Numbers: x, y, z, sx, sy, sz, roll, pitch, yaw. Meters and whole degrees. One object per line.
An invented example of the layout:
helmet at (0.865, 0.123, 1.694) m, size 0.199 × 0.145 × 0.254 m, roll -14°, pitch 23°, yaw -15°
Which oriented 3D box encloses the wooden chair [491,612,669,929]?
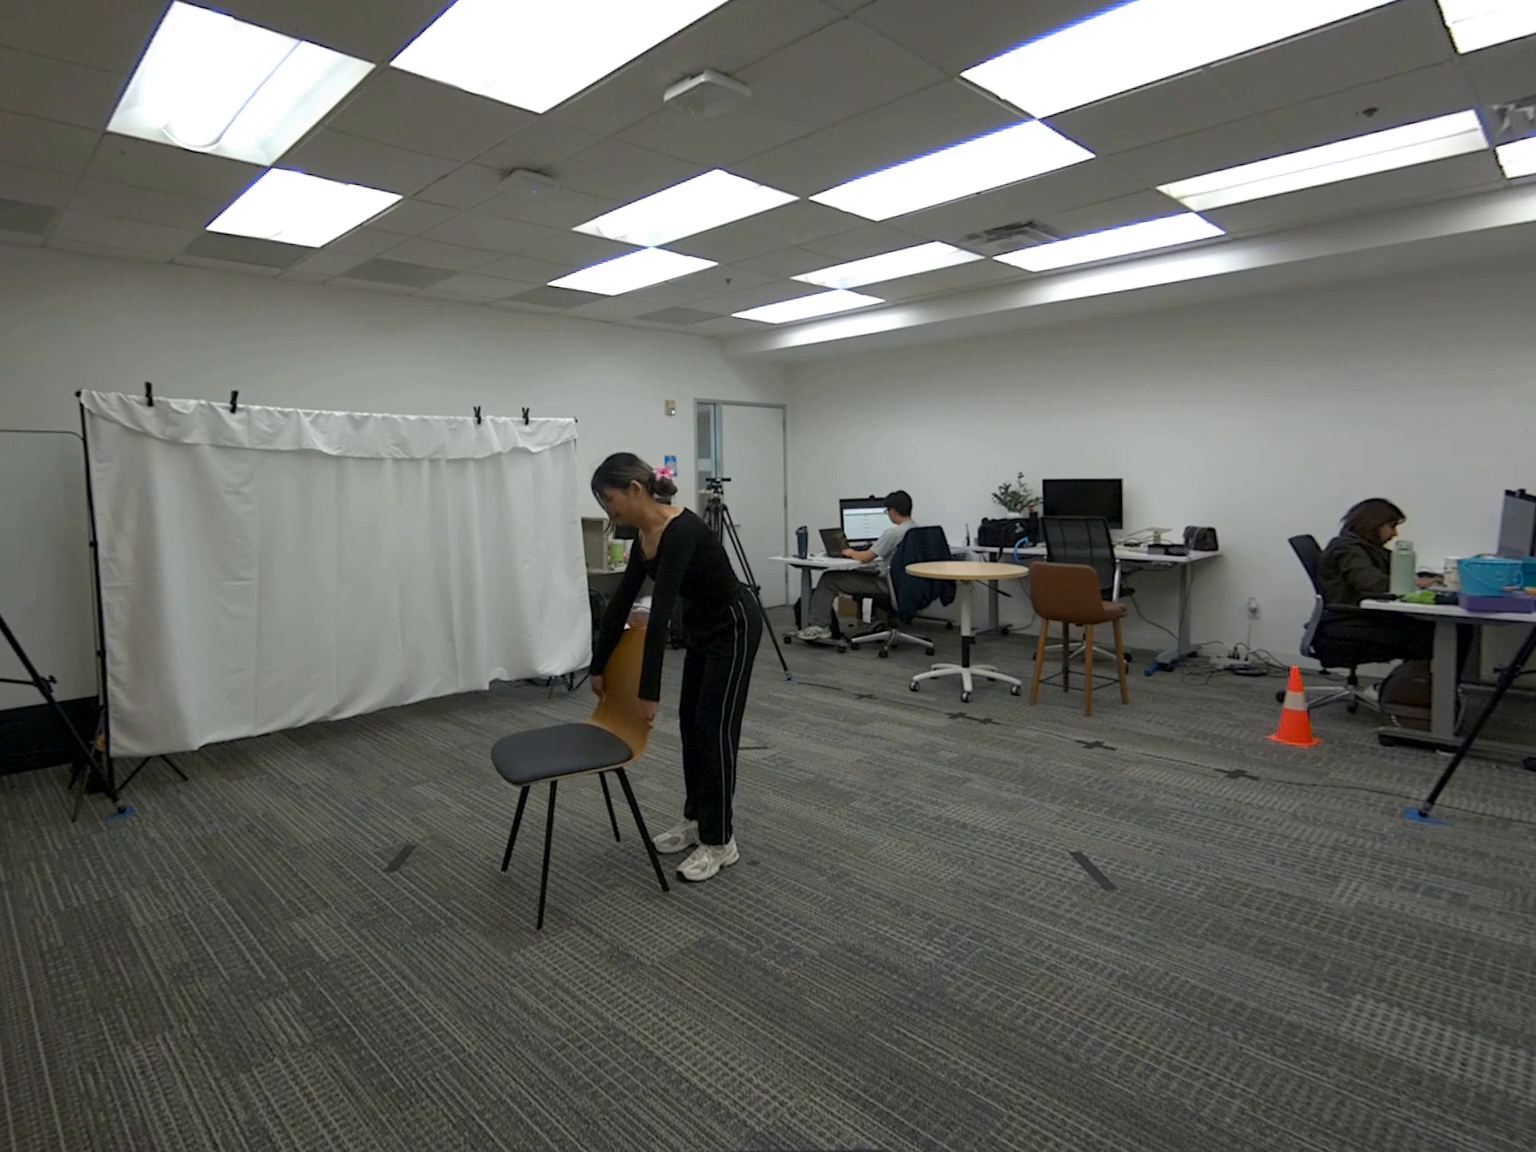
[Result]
wooden chair at (-0.654, 0.634, 2.903) m, size 0.510 × 0.875 × 0.492 m, roll 0°, pitch 4°, yaw -30°
